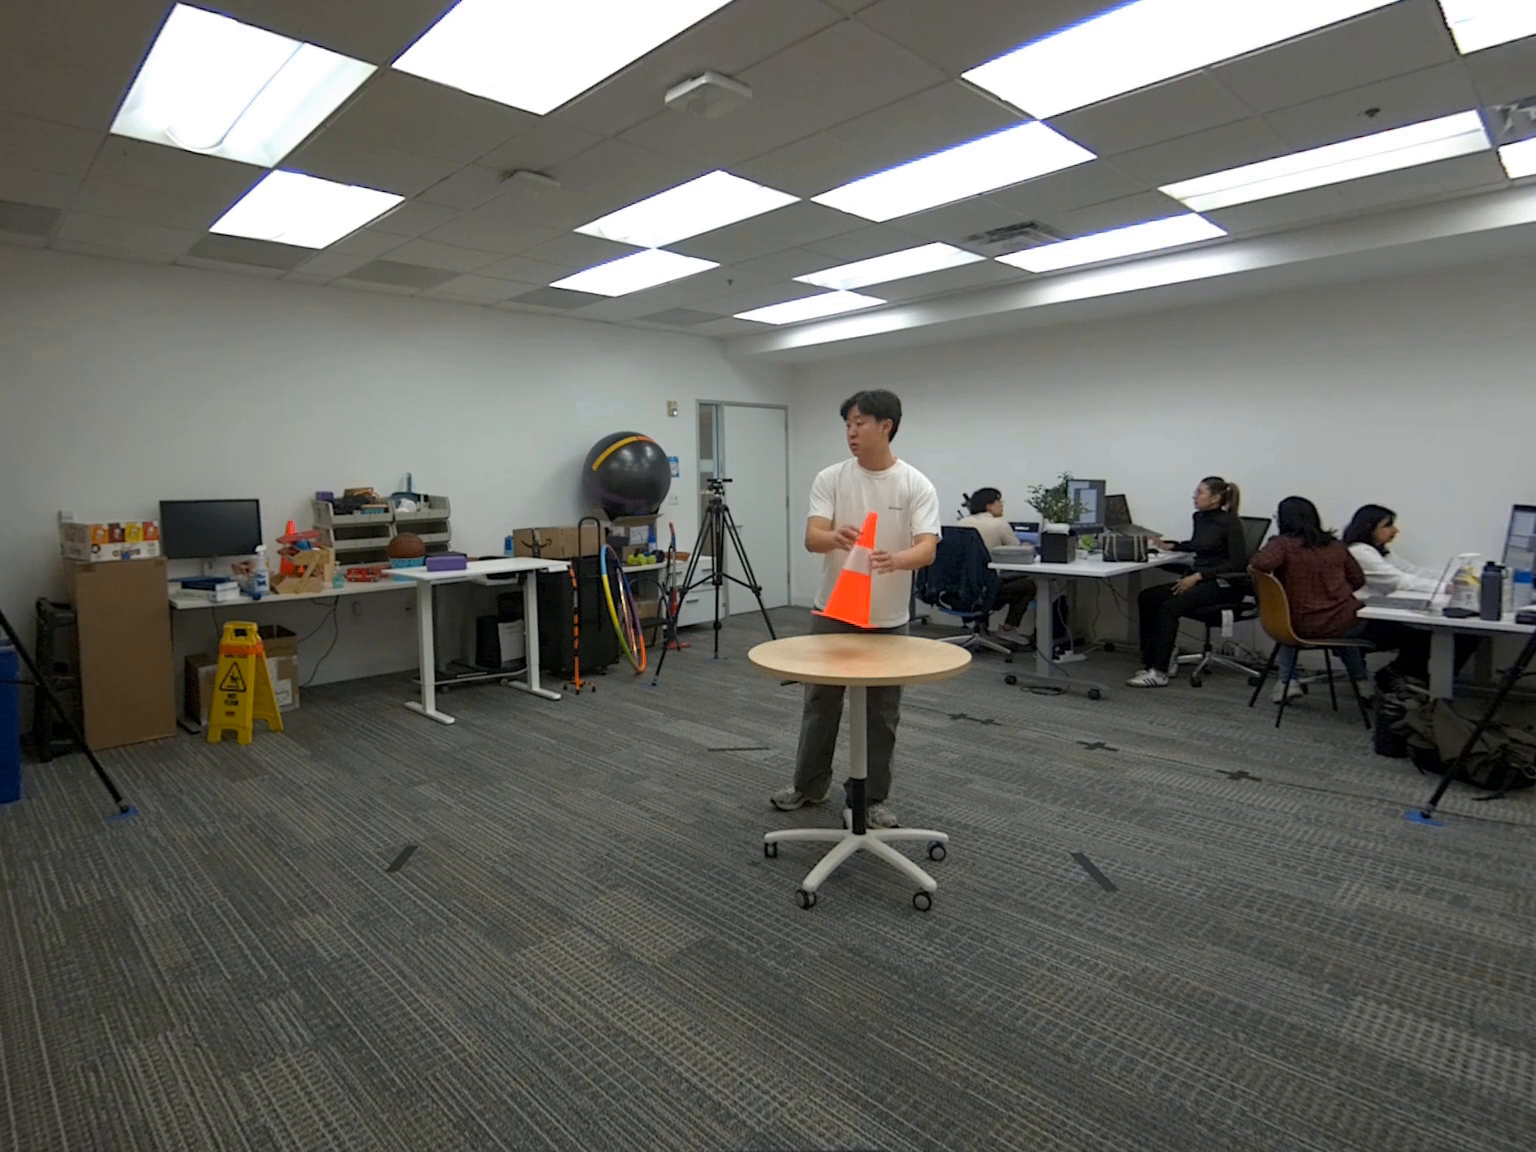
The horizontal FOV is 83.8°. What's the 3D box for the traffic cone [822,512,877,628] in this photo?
[{"bbox_3d":[0.311,-0.029,2.941,0.208,0.384,0.200,11,0,21],"label":"traffic cone"}]
